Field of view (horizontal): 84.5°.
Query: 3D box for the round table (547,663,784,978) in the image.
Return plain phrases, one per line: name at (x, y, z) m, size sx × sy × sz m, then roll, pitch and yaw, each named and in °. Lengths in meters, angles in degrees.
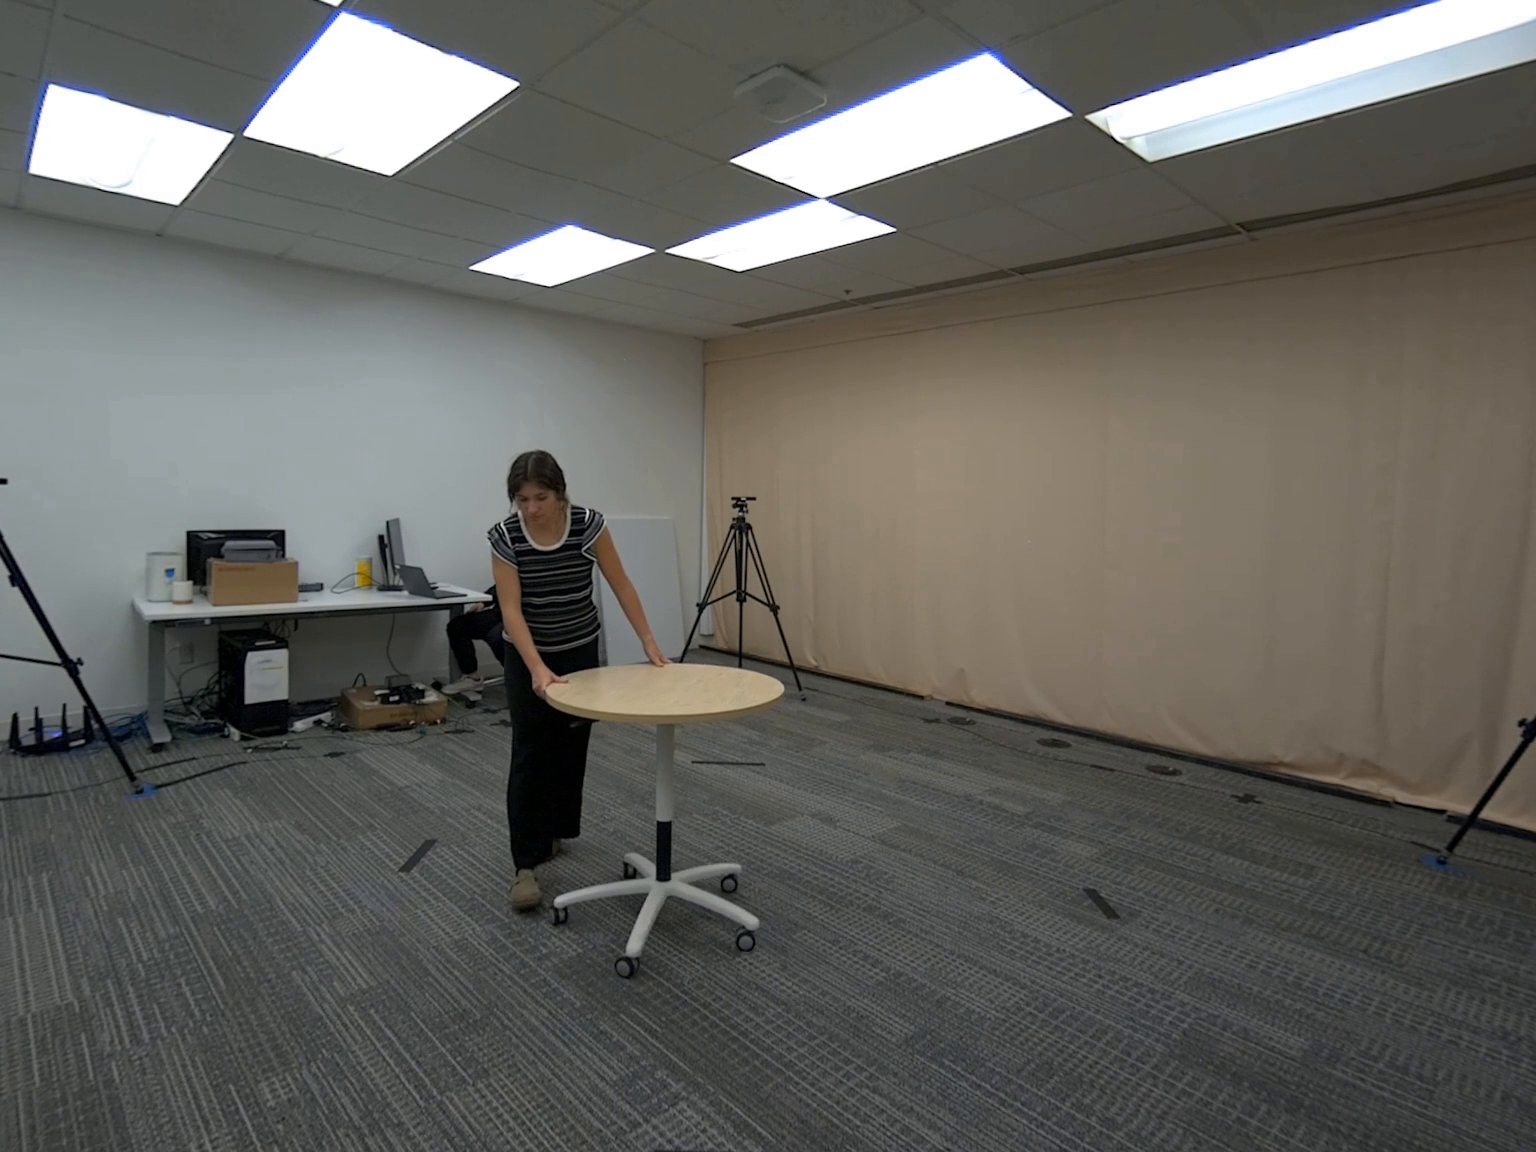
round table at (-0.339, 0.748, 2.739) m, size 0.763 × 0.792 × 0.767 m, roll 1°, pitch 4°, yaw -1°
